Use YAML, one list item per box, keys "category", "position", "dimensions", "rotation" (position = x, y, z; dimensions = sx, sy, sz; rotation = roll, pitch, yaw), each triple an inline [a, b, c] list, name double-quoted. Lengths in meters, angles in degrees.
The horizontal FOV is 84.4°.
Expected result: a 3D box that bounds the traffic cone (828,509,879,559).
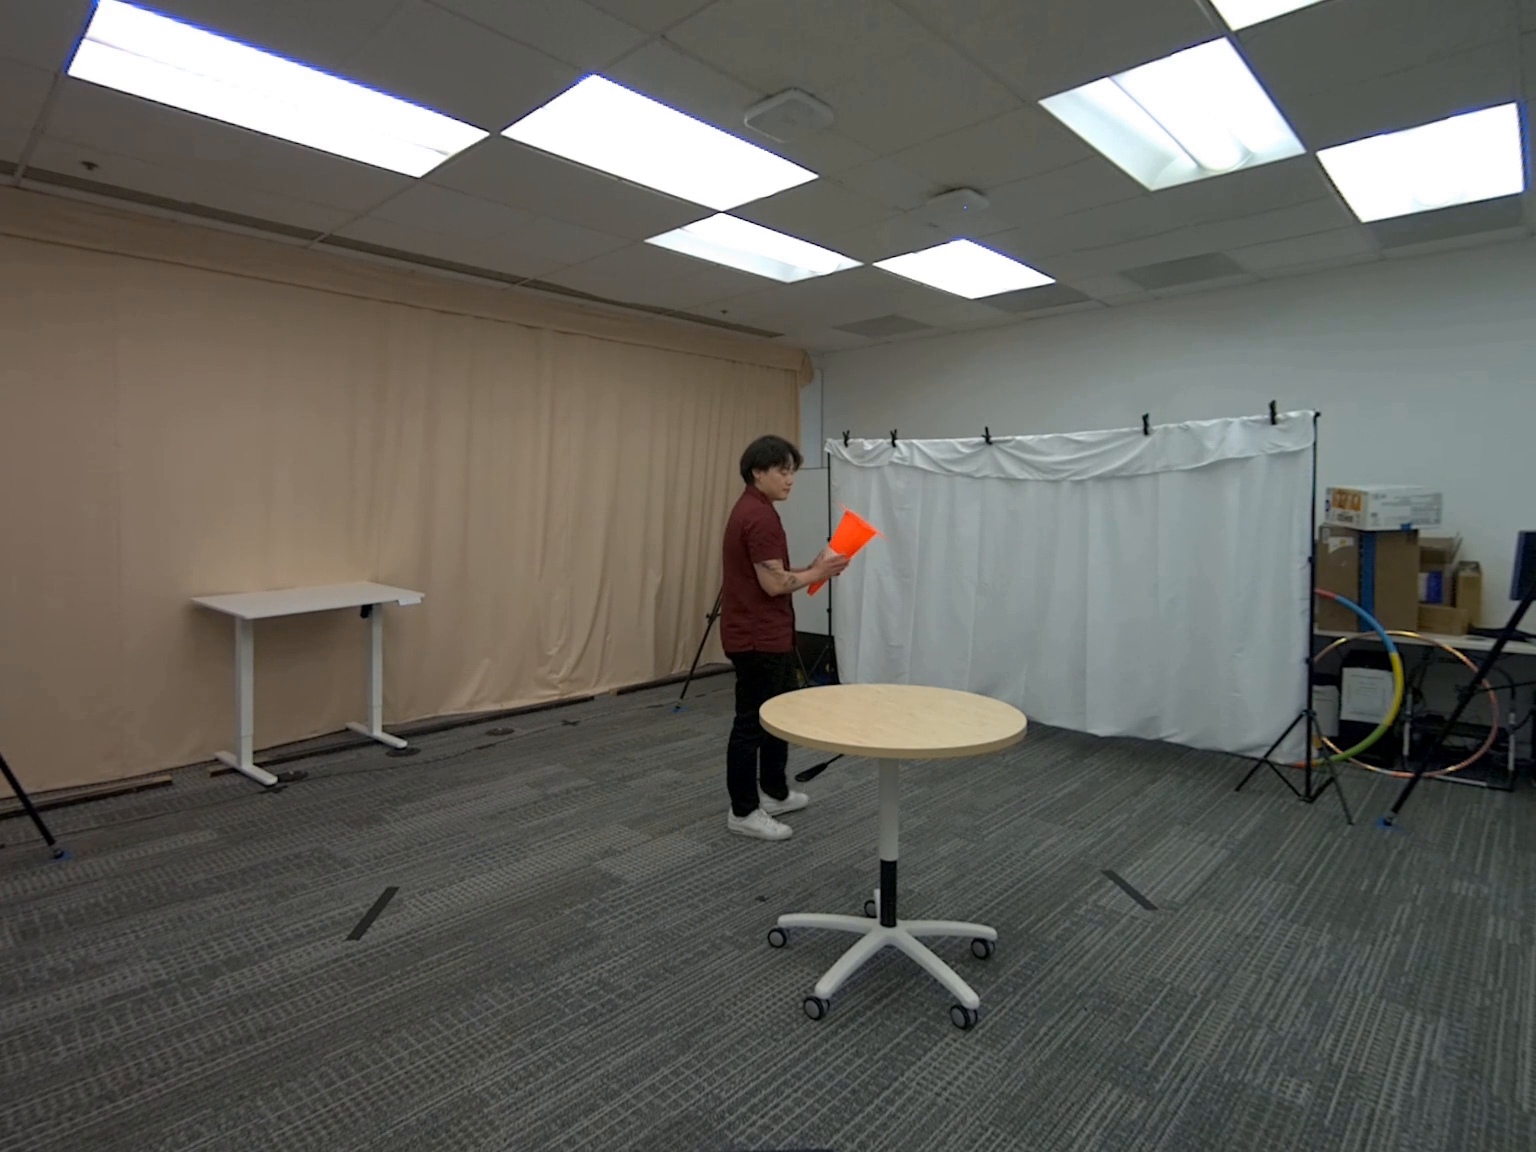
- category: "traffic cone"
  position: [0.283, -0.075, 3.521]
  dimensions: [0.197, 0.384, 0.211]
  rotation: [28, 12, -46]
